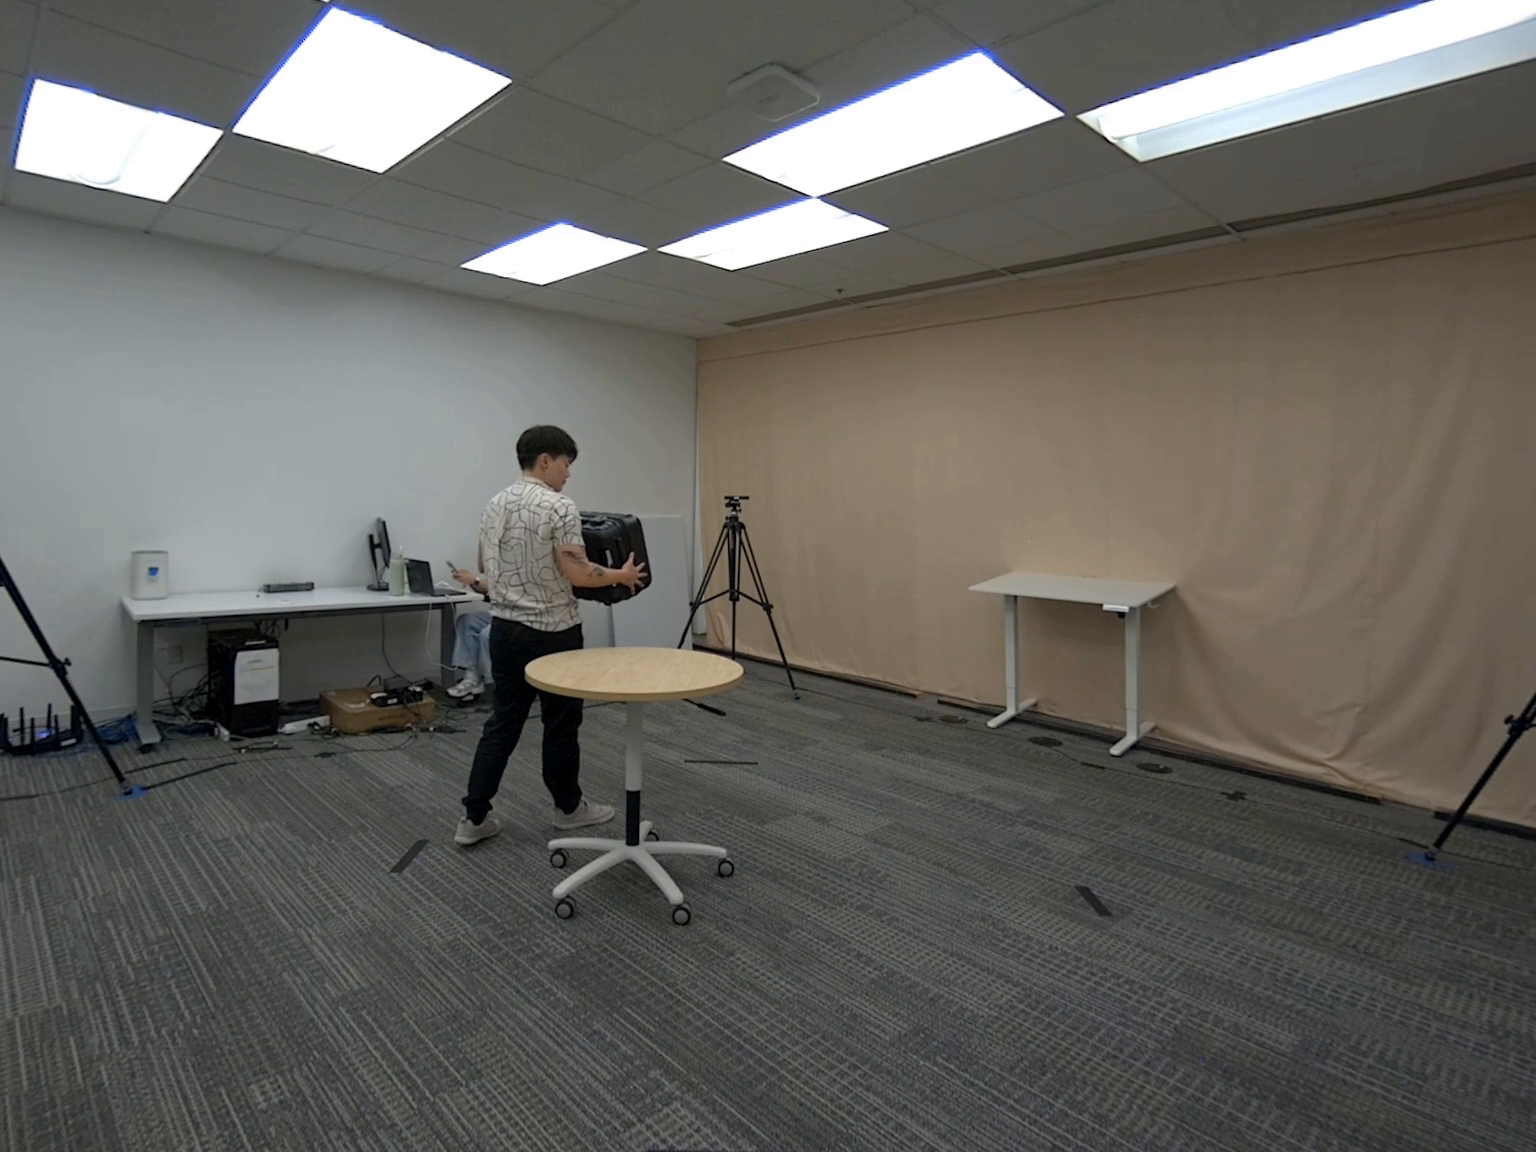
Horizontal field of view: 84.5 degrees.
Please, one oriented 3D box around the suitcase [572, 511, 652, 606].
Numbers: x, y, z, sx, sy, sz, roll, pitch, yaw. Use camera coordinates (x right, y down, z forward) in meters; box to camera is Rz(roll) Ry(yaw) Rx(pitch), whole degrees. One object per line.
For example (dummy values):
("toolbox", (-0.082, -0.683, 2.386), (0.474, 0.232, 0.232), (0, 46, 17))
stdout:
("suitcase", (-0.789, -0.095, 3.683), (0.563, 0.370, 0.245), (4, 20, 39))
